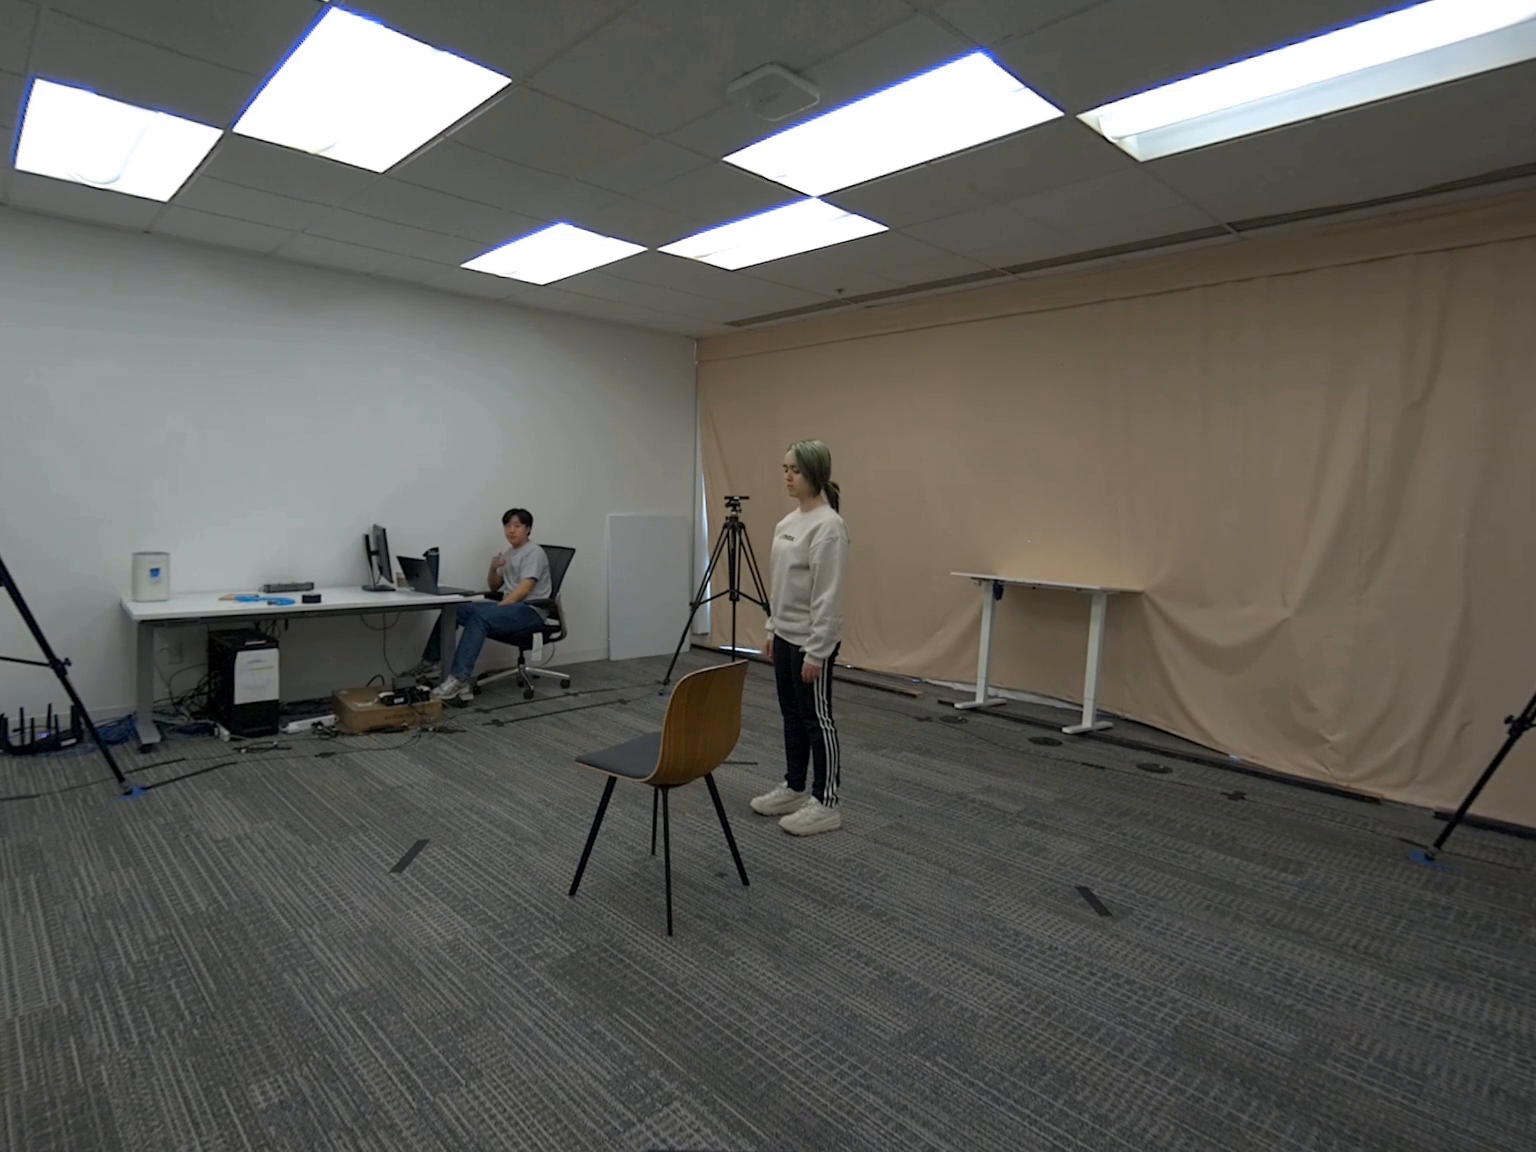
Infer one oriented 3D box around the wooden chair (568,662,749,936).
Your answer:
[{"bbox_3d":[-0.380,0.685,2.943,0.536,0.874,0.468,9,7,34],"label":"wooden chair"}]
